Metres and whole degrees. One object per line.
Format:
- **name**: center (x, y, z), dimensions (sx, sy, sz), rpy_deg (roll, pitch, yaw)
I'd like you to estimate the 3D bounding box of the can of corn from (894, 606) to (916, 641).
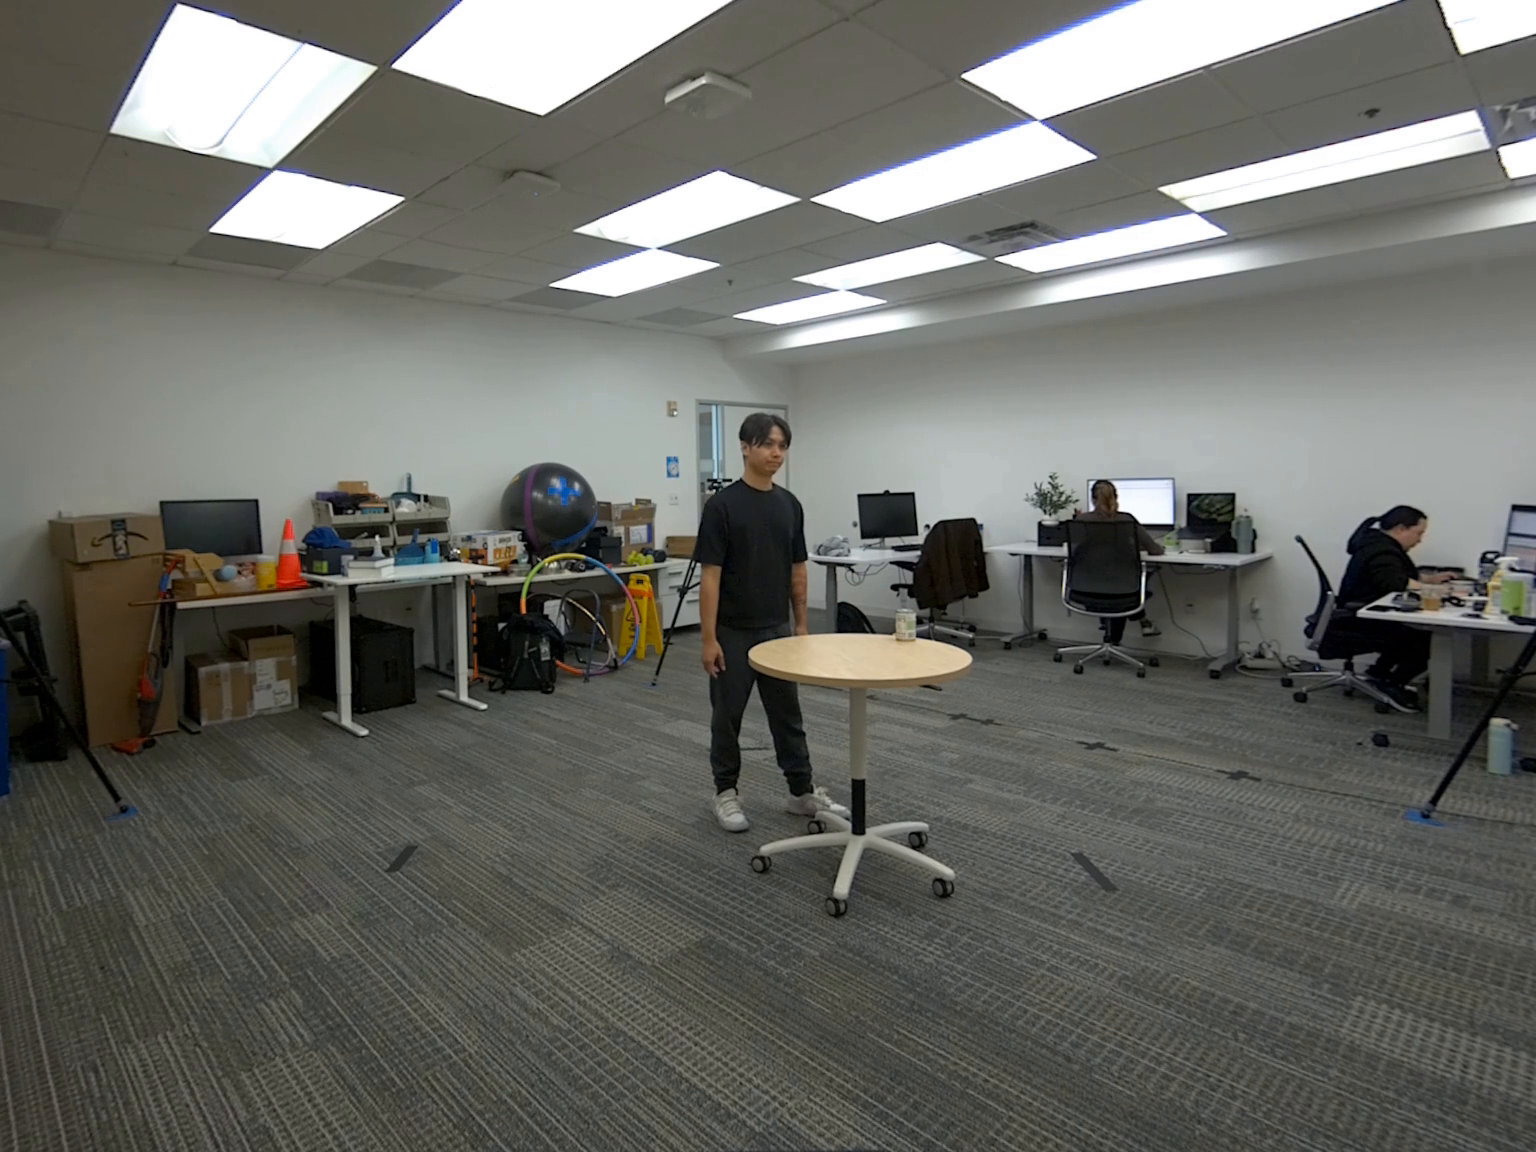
- **can of corn**: center (0.527, 0.183, 3.217), dimensions (0.074, 0.111, 0.074), rpy_deg (-2, 3, -2)
